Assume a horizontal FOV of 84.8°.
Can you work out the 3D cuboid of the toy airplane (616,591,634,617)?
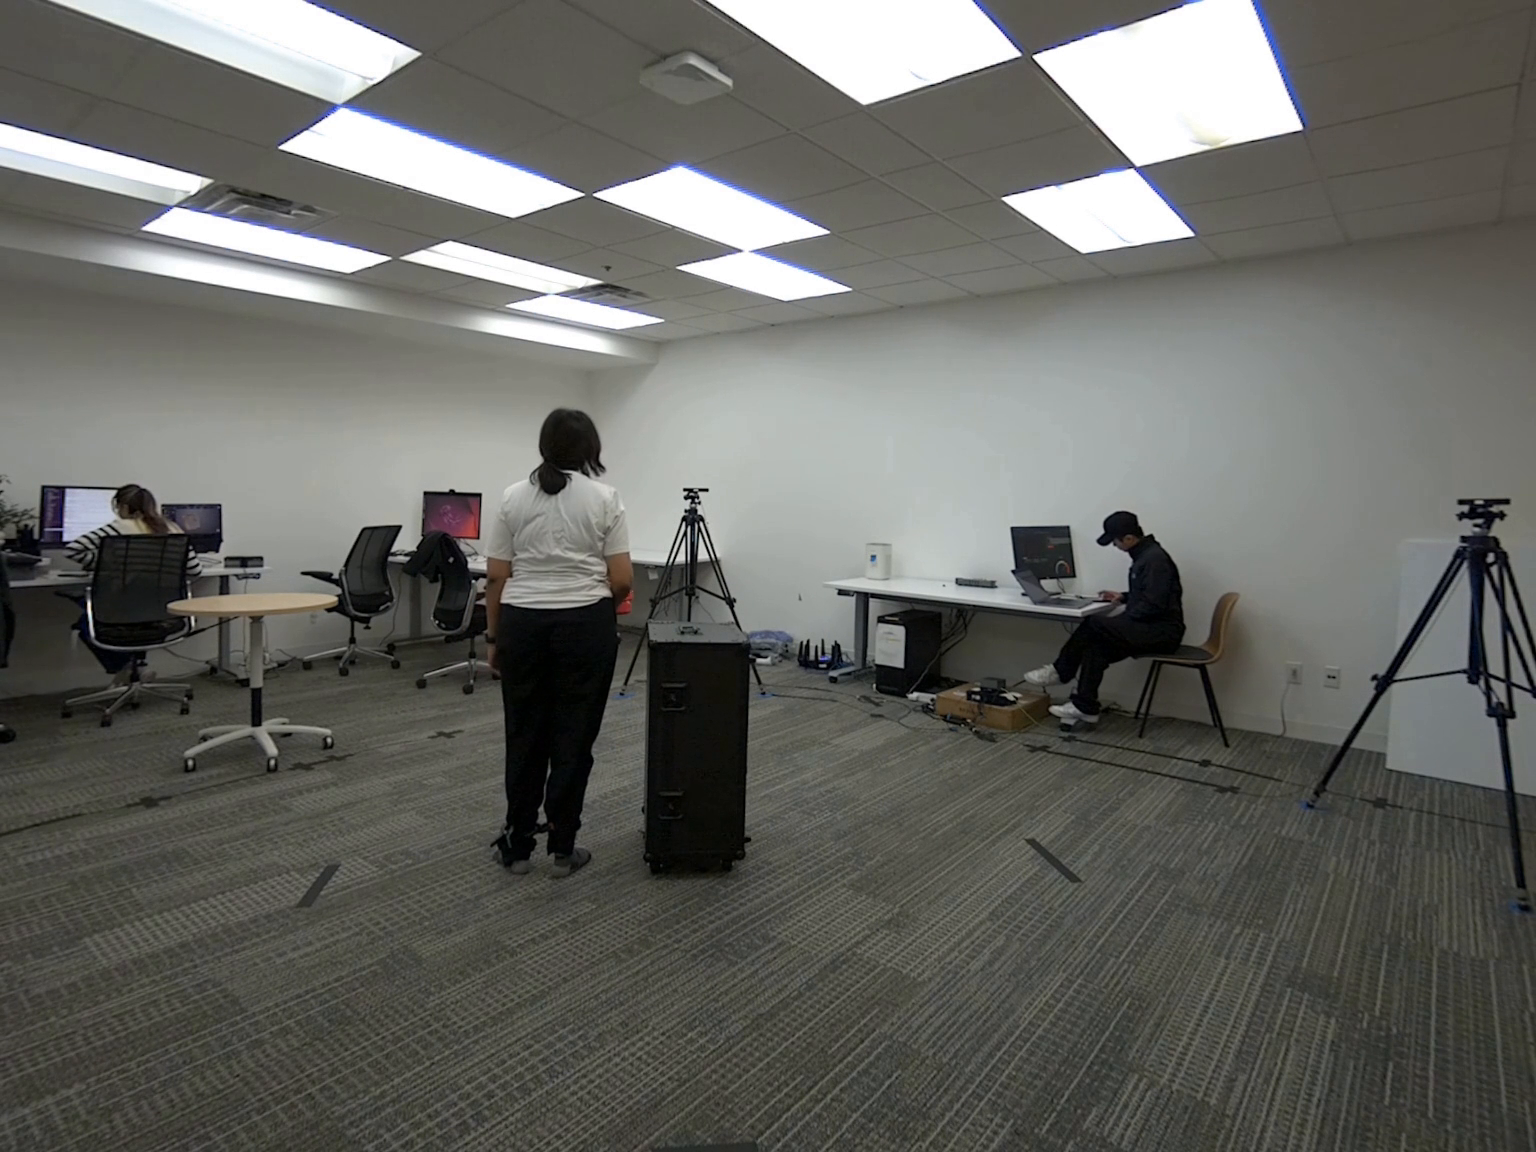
[{"bbox_3d":[-0.662,0.129,3.414,0.245,0.153,0.270,-8,32,-31],"label":"toy airplane"}]
